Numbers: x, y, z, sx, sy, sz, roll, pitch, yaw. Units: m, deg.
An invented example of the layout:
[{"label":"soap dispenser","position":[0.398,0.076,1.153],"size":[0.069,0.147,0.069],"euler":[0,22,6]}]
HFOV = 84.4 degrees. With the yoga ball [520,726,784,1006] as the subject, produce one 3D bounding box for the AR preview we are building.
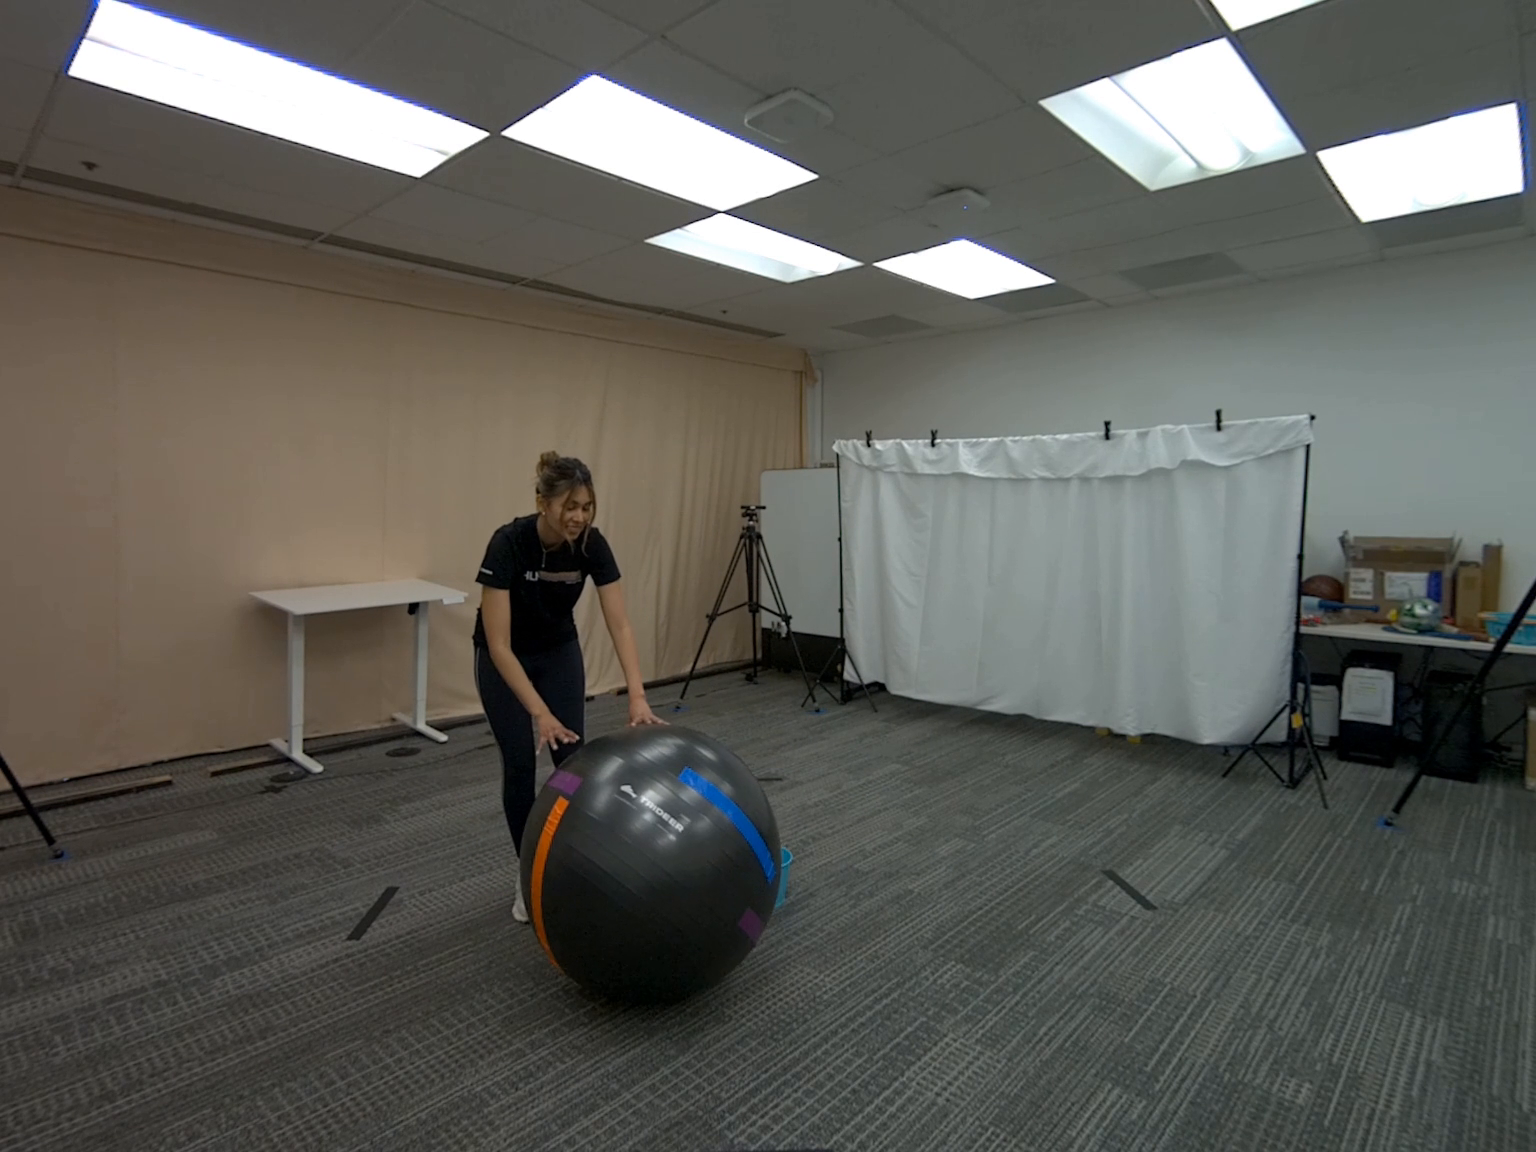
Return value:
[{"label":"yoga ball","position":[-0.338,0.827,2.456],"size":[0.757,0.756,0.760],"euler":[0,4,-2]}]
